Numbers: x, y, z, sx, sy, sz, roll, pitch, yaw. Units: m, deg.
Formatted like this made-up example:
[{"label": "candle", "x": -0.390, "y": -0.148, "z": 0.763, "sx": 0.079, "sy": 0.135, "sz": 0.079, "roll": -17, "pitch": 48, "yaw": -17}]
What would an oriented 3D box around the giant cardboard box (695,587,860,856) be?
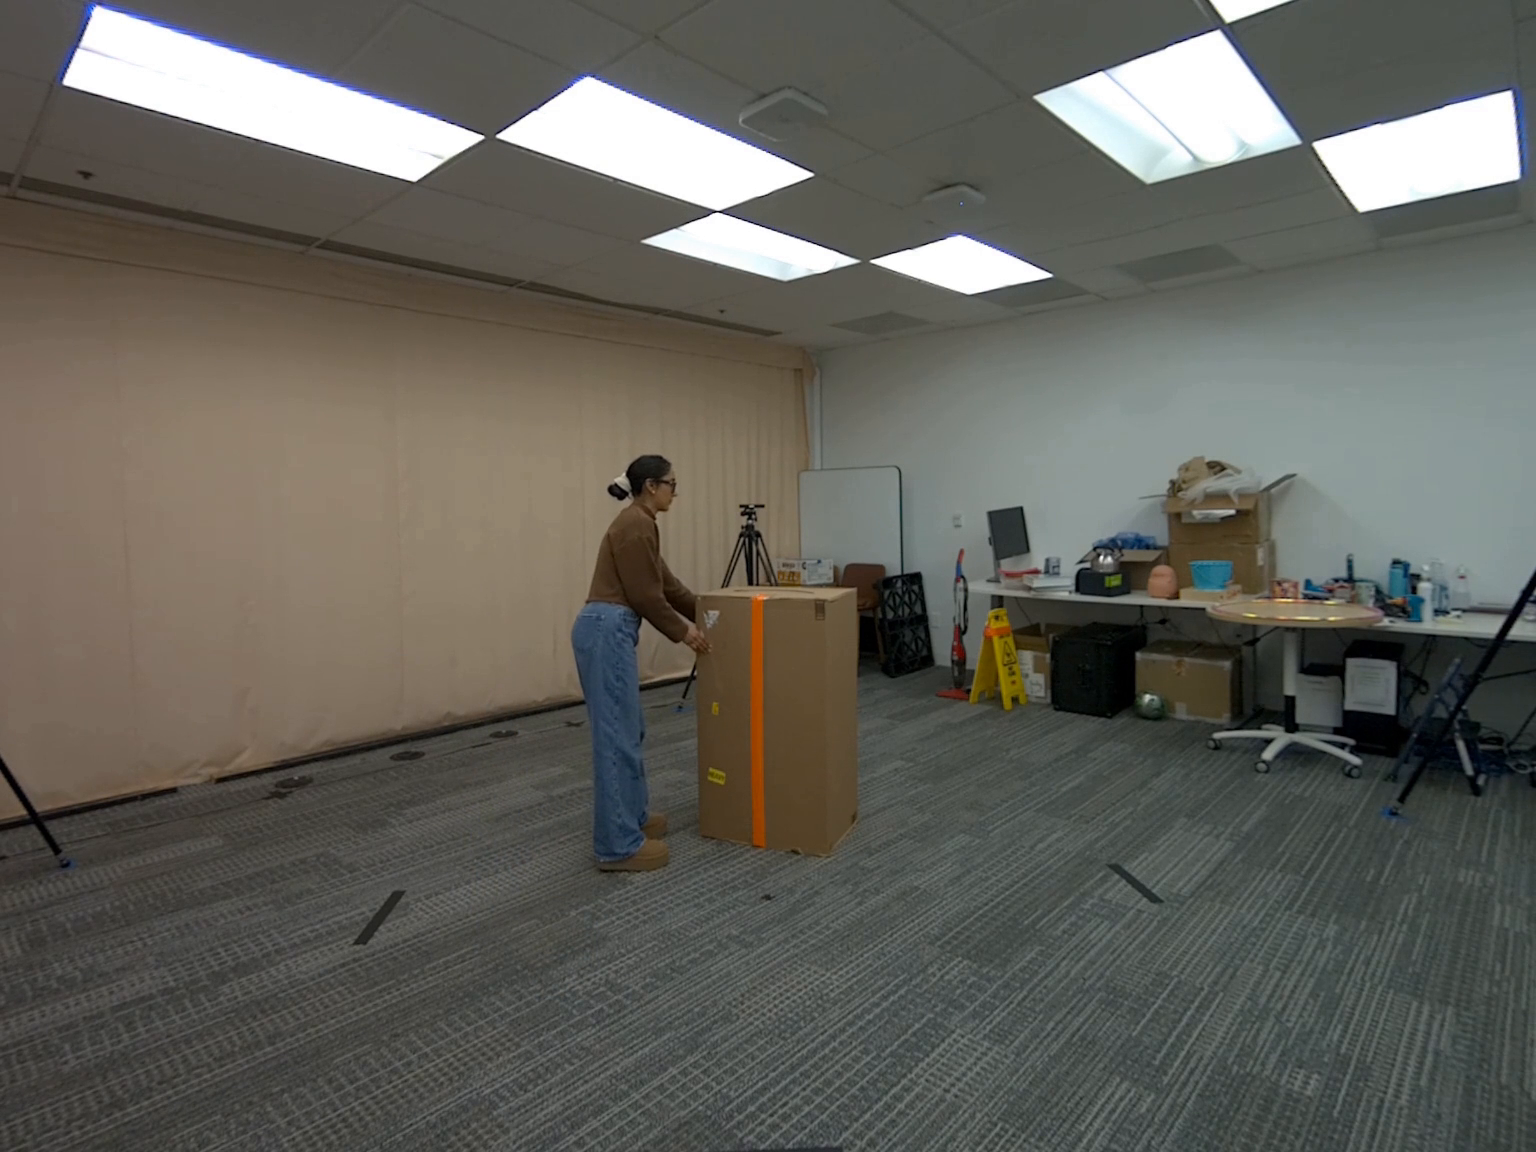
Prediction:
[{"label": "giant cardboard box", "x": 0.049, "y": 0.574, "z": 3.591, "sx": 0.592, "sy": 1.024, "sz": 0.416, "roll": 1, "pitch": 4, "yaw": 25}]
